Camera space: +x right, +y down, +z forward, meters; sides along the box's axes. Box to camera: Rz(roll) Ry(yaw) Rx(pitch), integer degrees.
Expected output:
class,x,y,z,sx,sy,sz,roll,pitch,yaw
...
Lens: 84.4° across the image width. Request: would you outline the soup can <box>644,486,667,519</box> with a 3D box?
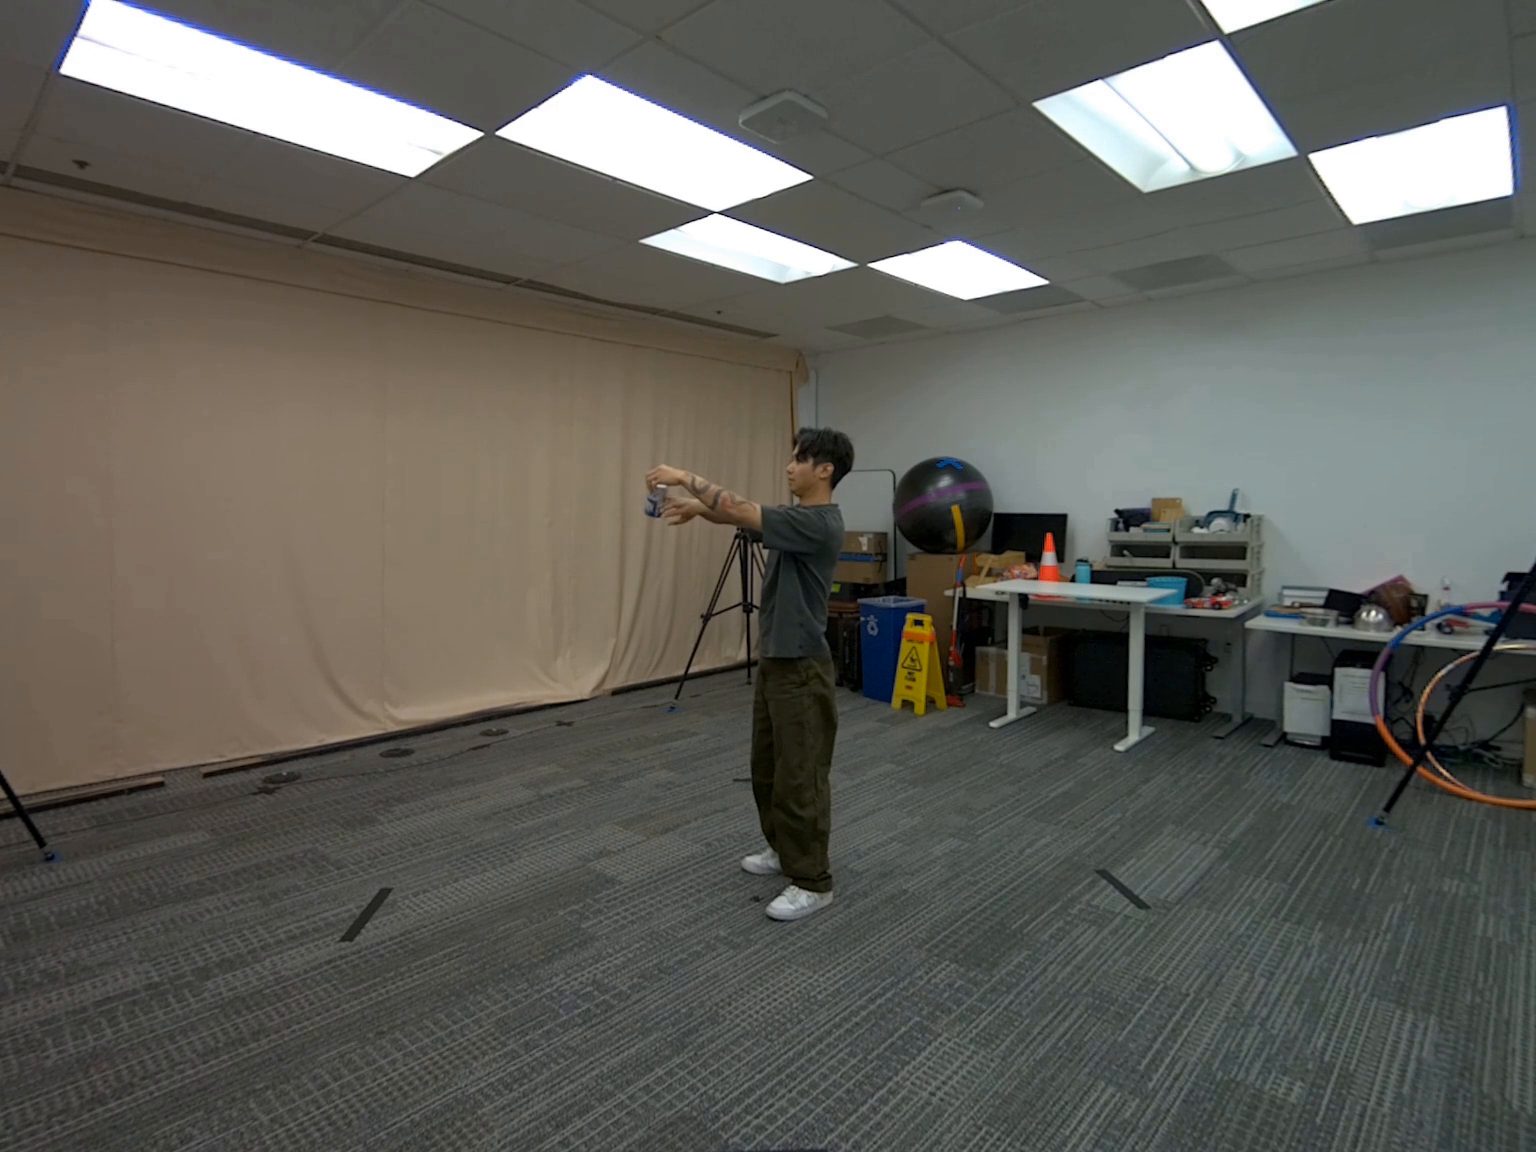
class,x,y,z,sx,sy,sz,roll,pitch,yaw
soup can,-0.382,-0.269,2.929,0.067,0.120,0.068,11,23,-7
